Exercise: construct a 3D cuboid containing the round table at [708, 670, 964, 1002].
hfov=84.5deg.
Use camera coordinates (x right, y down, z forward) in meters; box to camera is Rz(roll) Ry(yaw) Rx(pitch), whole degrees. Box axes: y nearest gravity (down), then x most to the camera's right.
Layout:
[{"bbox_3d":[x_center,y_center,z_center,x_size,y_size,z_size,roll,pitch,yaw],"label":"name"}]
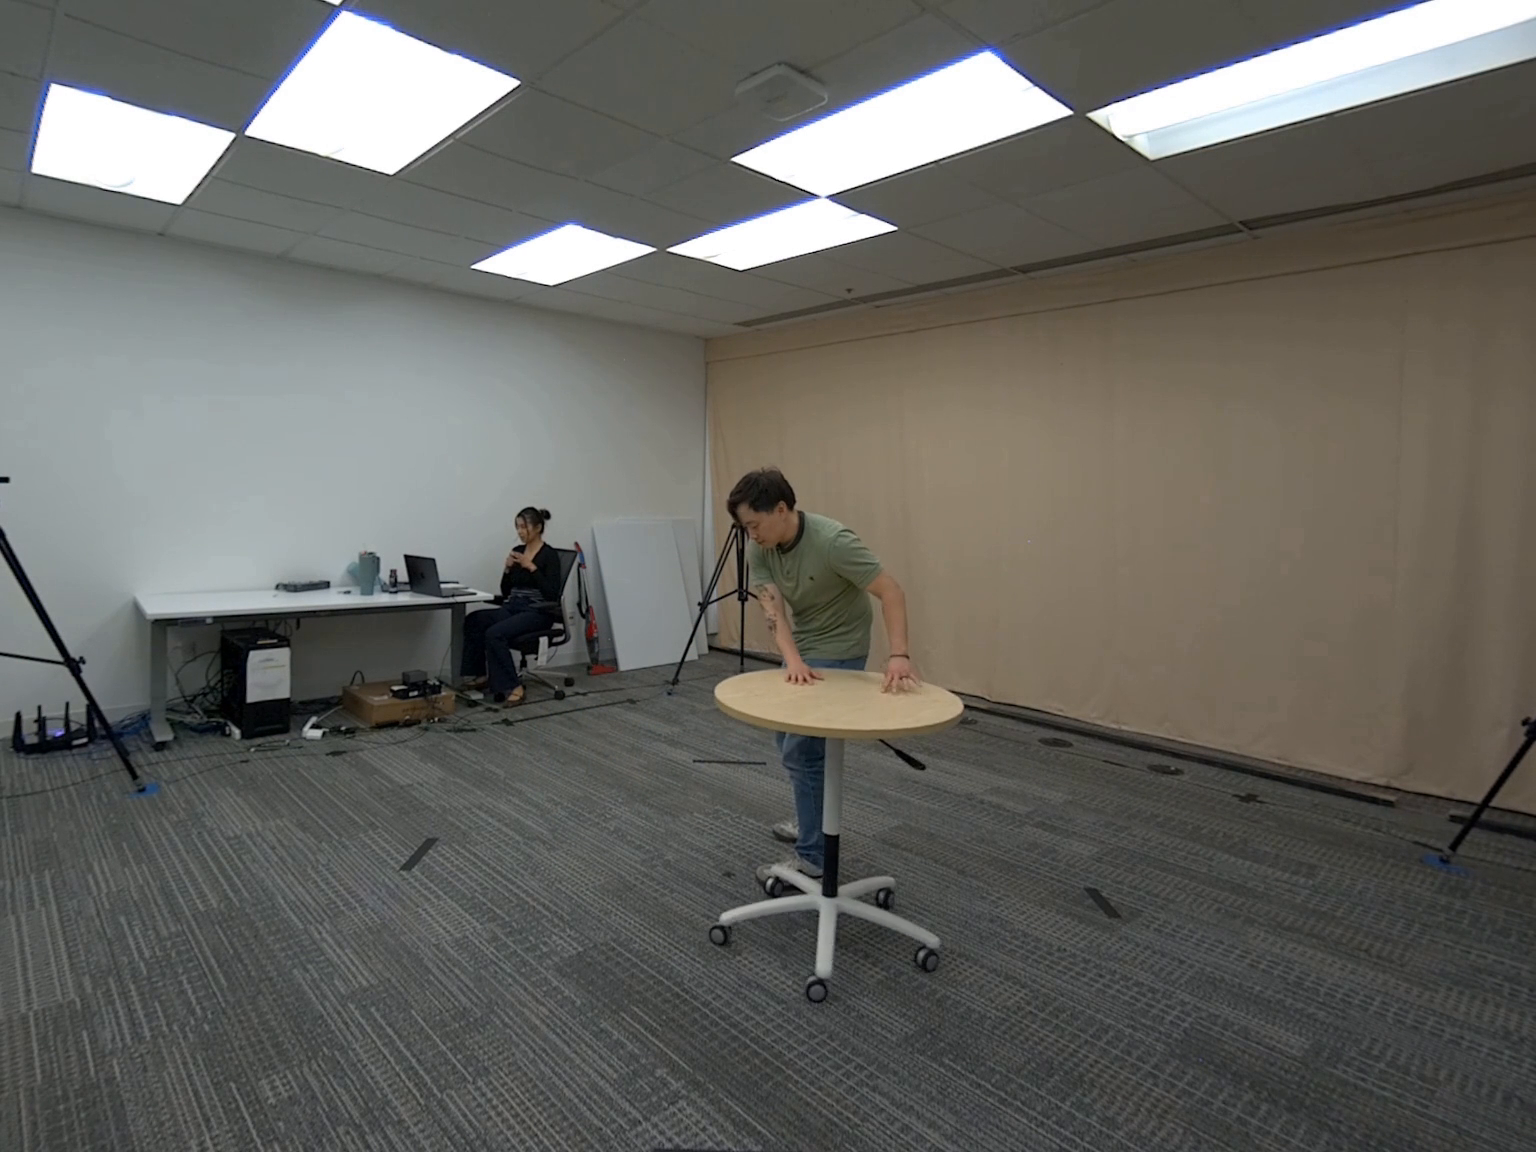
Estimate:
[{"bbox_3d":[0.192,0.764,2.648,0.763,0.791,0.767,2,5,-2],"label":"round table"}]
